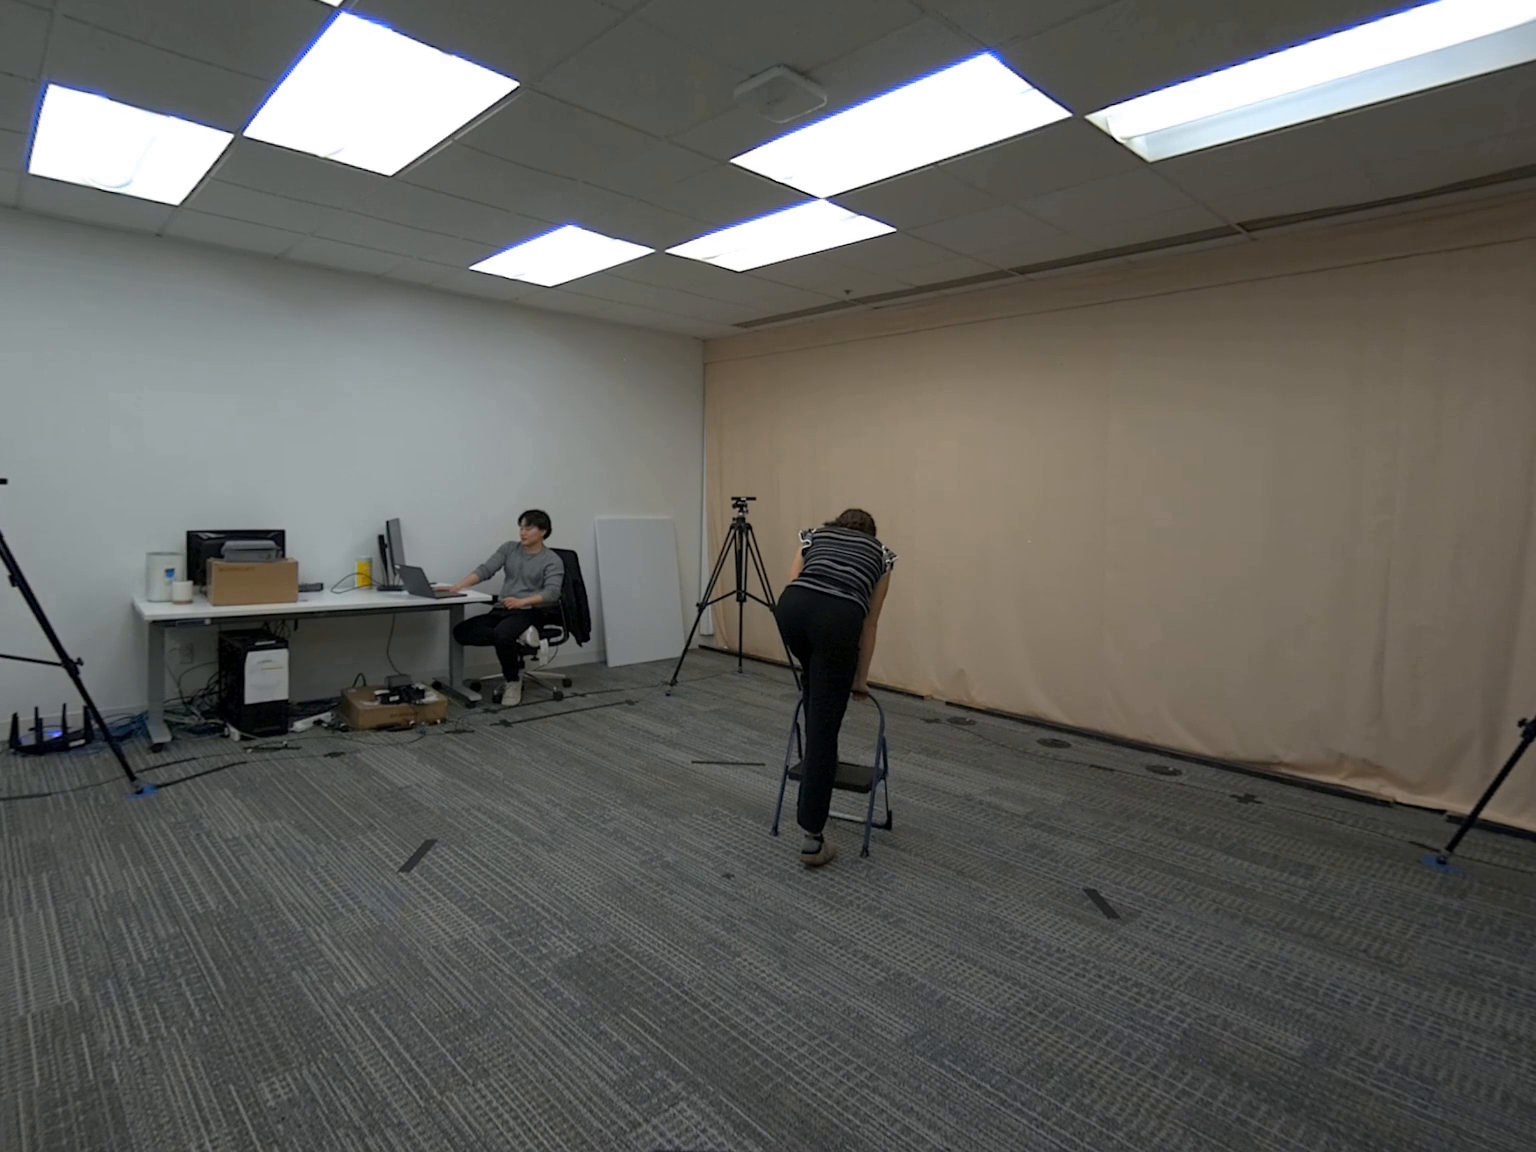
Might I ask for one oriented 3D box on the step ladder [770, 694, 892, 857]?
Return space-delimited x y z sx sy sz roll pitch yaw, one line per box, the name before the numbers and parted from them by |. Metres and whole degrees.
step ladder | 0.276 0.778 3.536 0.439 0.605 0.343 3 3 27
